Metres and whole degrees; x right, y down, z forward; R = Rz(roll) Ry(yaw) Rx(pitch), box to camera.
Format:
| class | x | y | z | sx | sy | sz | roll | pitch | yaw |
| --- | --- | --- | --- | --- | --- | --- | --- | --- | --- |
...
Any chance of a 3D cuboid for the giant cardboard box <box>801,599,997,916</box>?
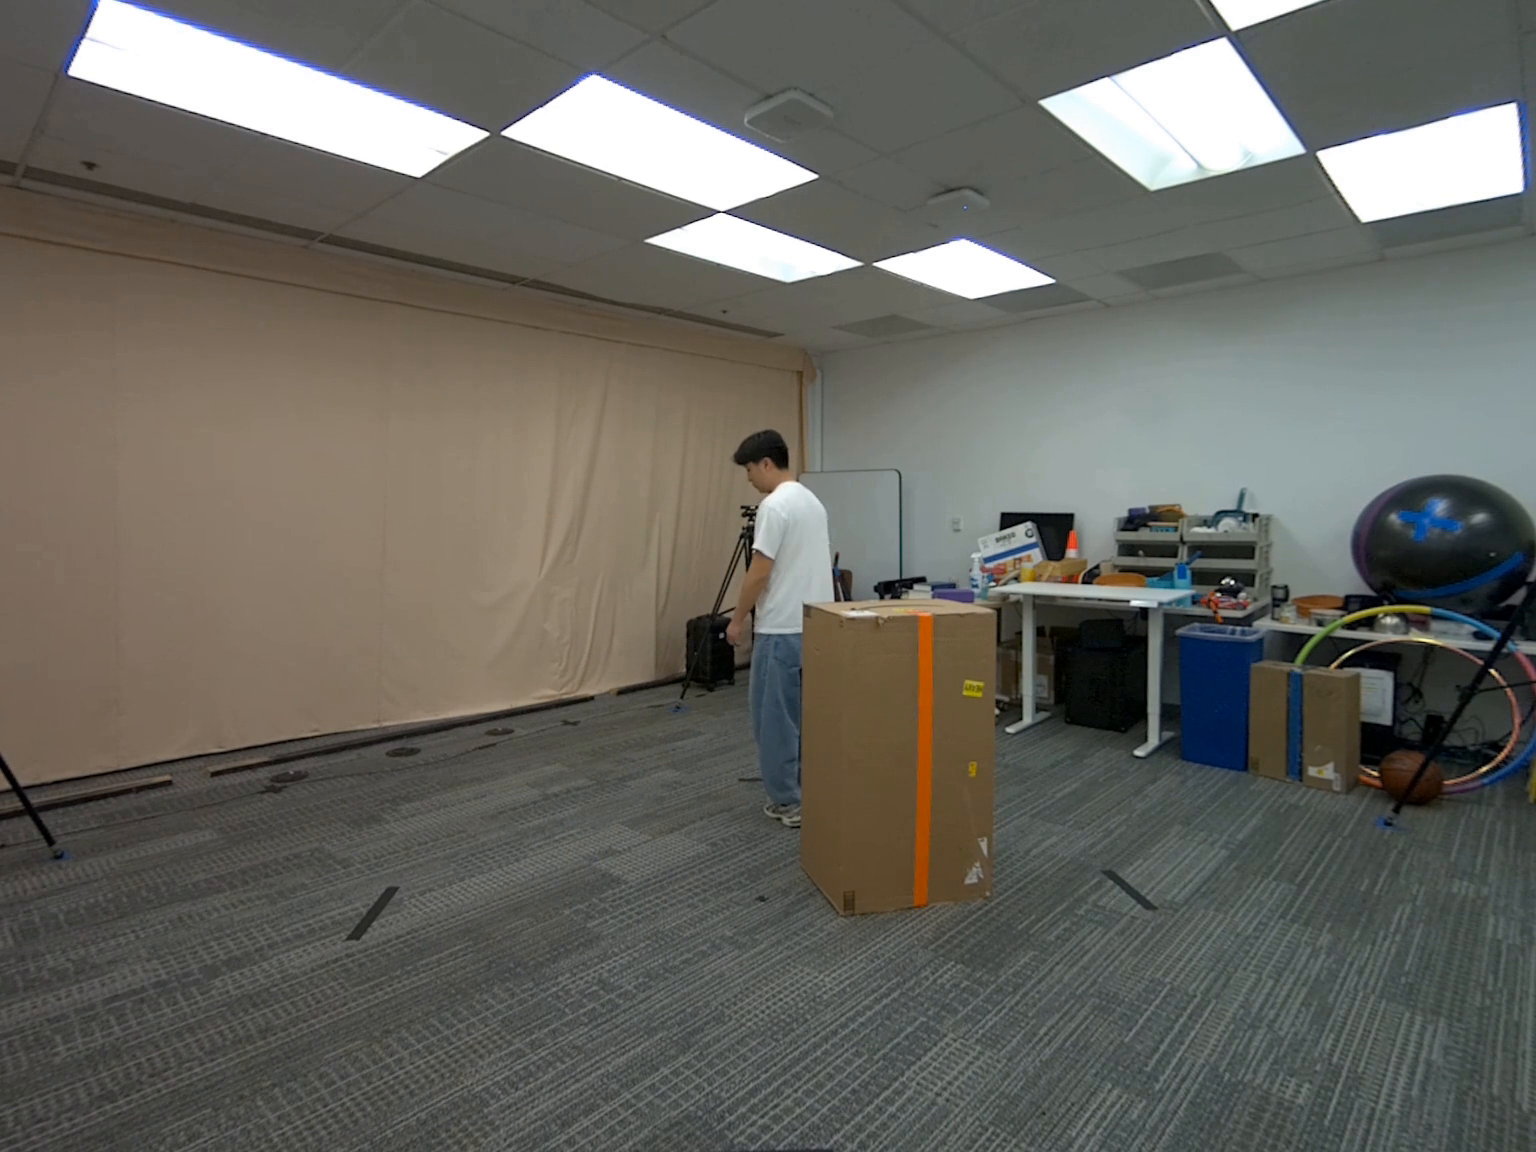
| class | x | y | z | sx | sy | sz | roll | pitch | yaw |
| --- | --- | --- | --- | --- | --- | --- | --- | --- | --- |
| giant cardboard box | 0.472 | 0.623 | 3.092 | 0.567 | 1.024 | 0.434 | -1 | 3 | -17 |
